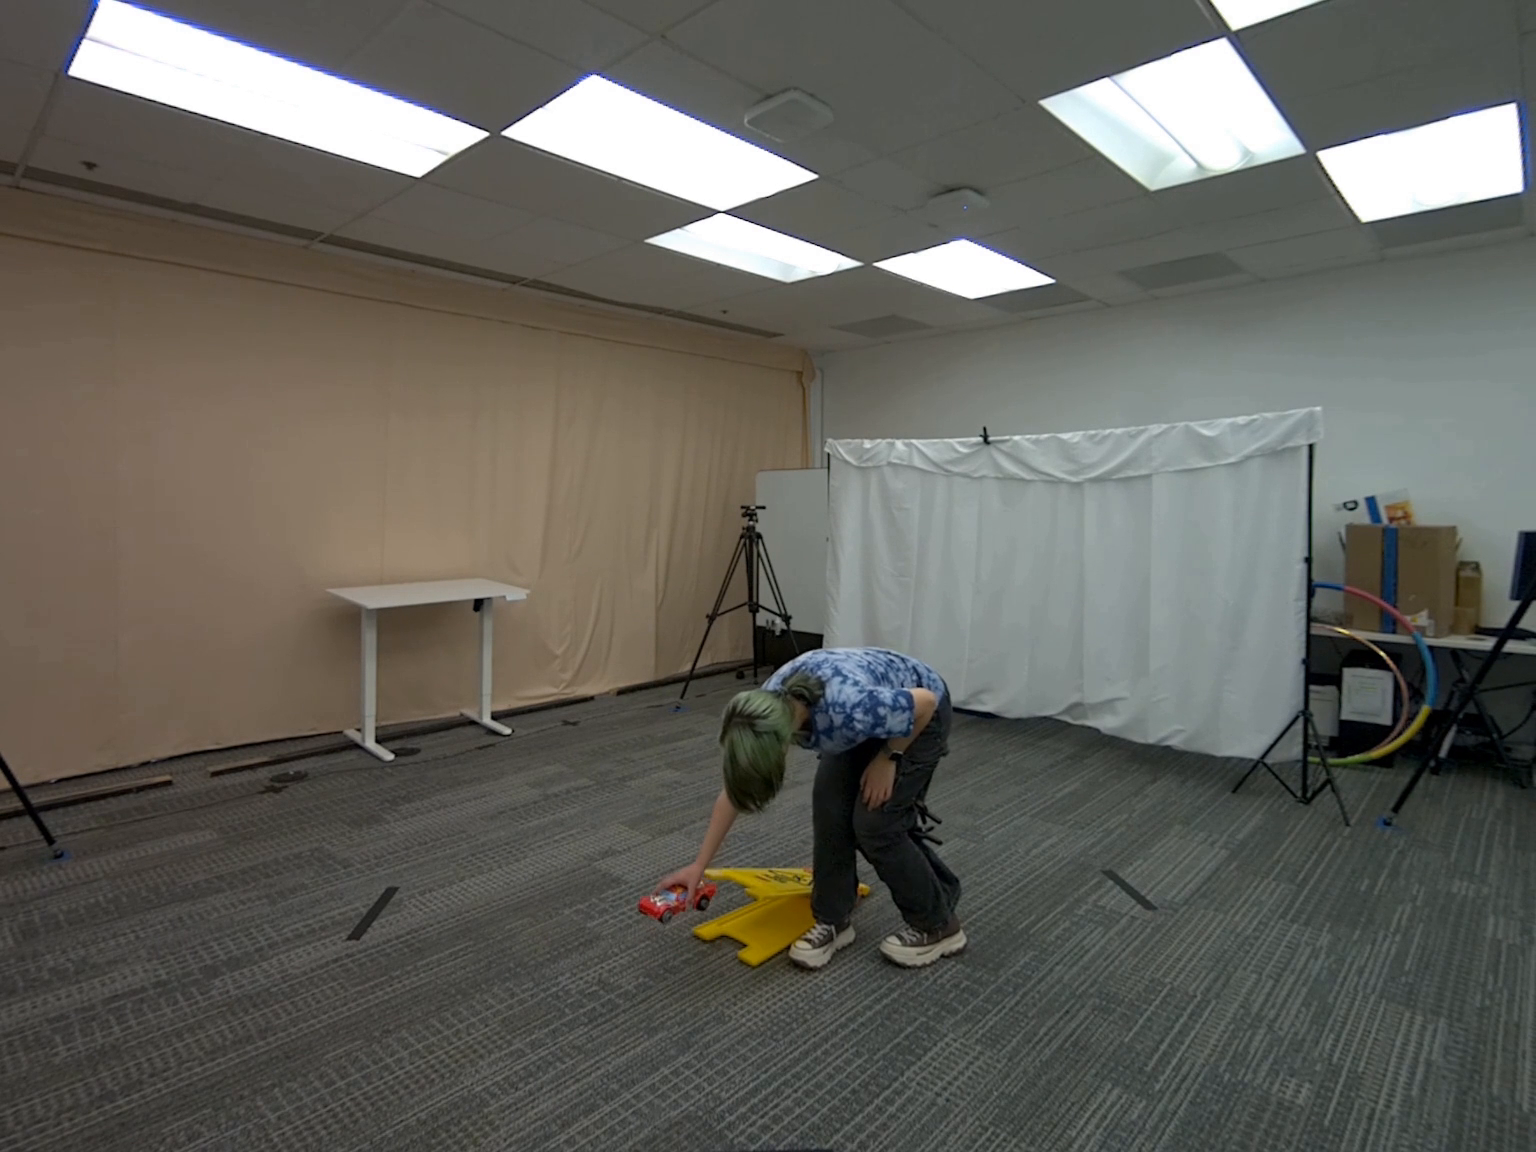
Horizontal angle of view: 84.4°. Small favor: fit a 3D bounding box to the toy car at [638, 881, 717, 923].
[{"bbox_3d":[-0.257,0.982,2.527,0.134,0.083,0.248,1,11,44],"label":"toy car"}]
